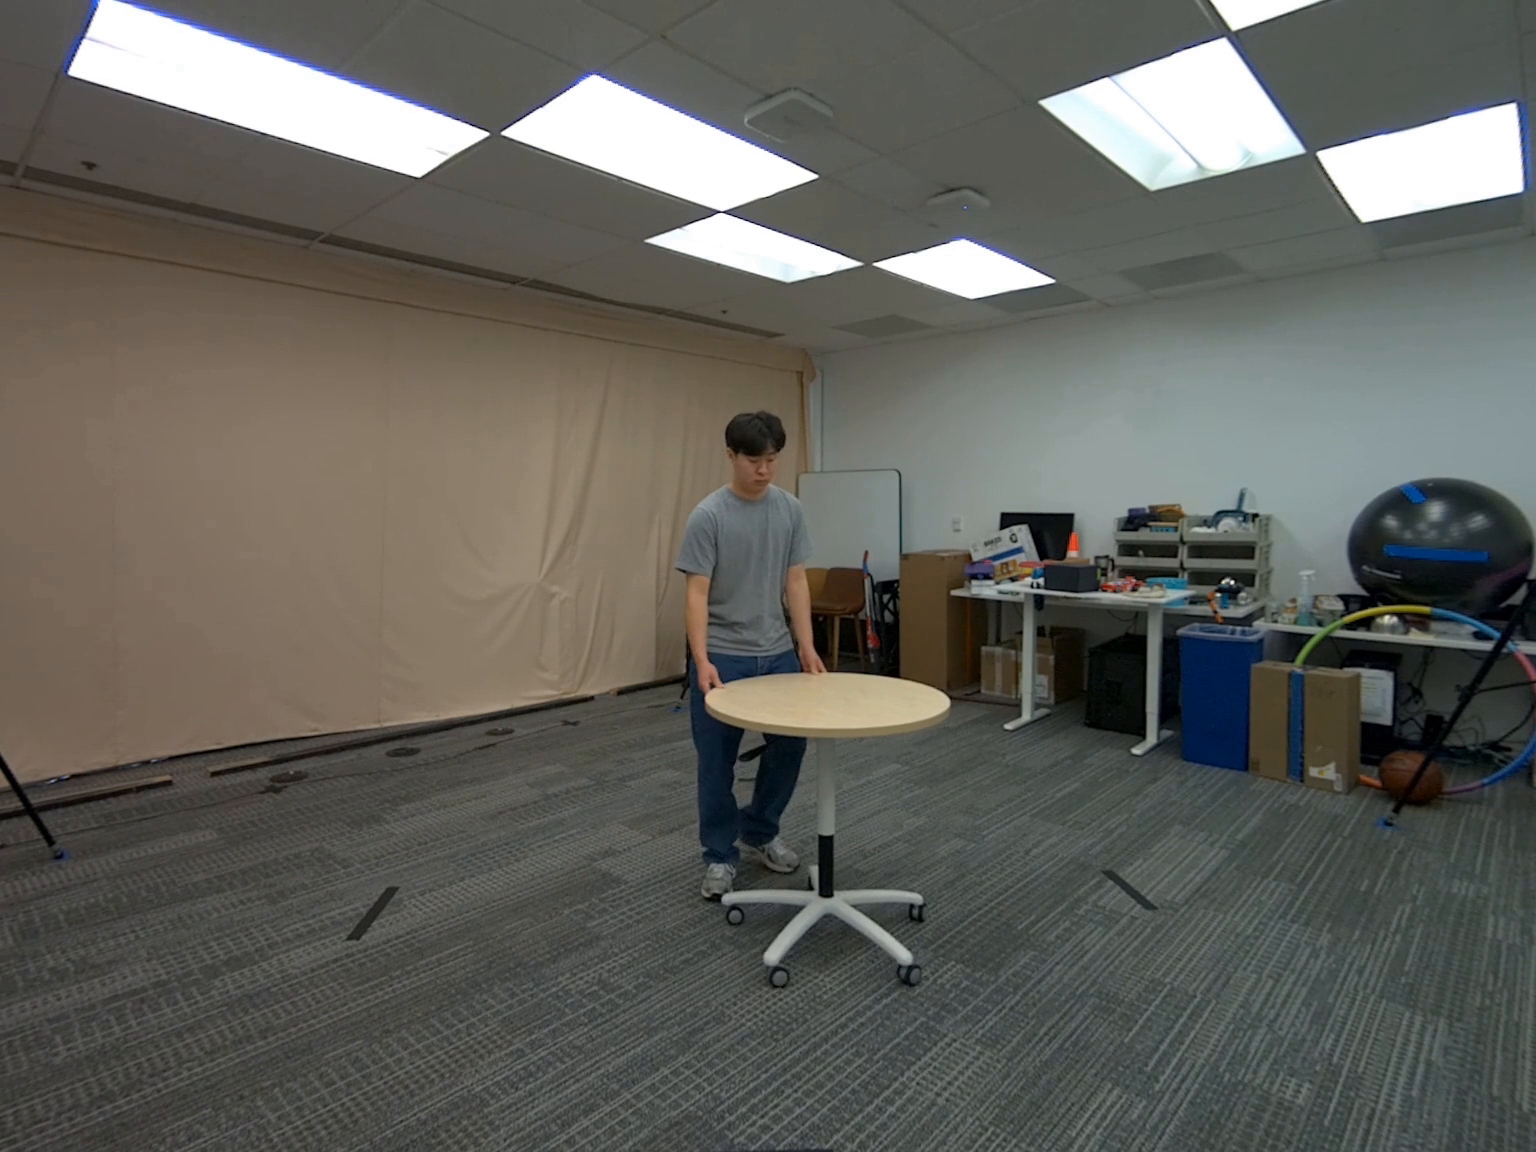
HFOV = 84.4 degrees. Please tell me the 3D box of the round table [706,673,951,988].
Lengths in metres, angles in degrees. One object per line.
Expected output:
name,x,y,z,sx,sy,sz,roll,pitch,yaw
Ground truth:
round table,0.191,0.778,2.694,0.763,0.792,0.767,0,4,-2
